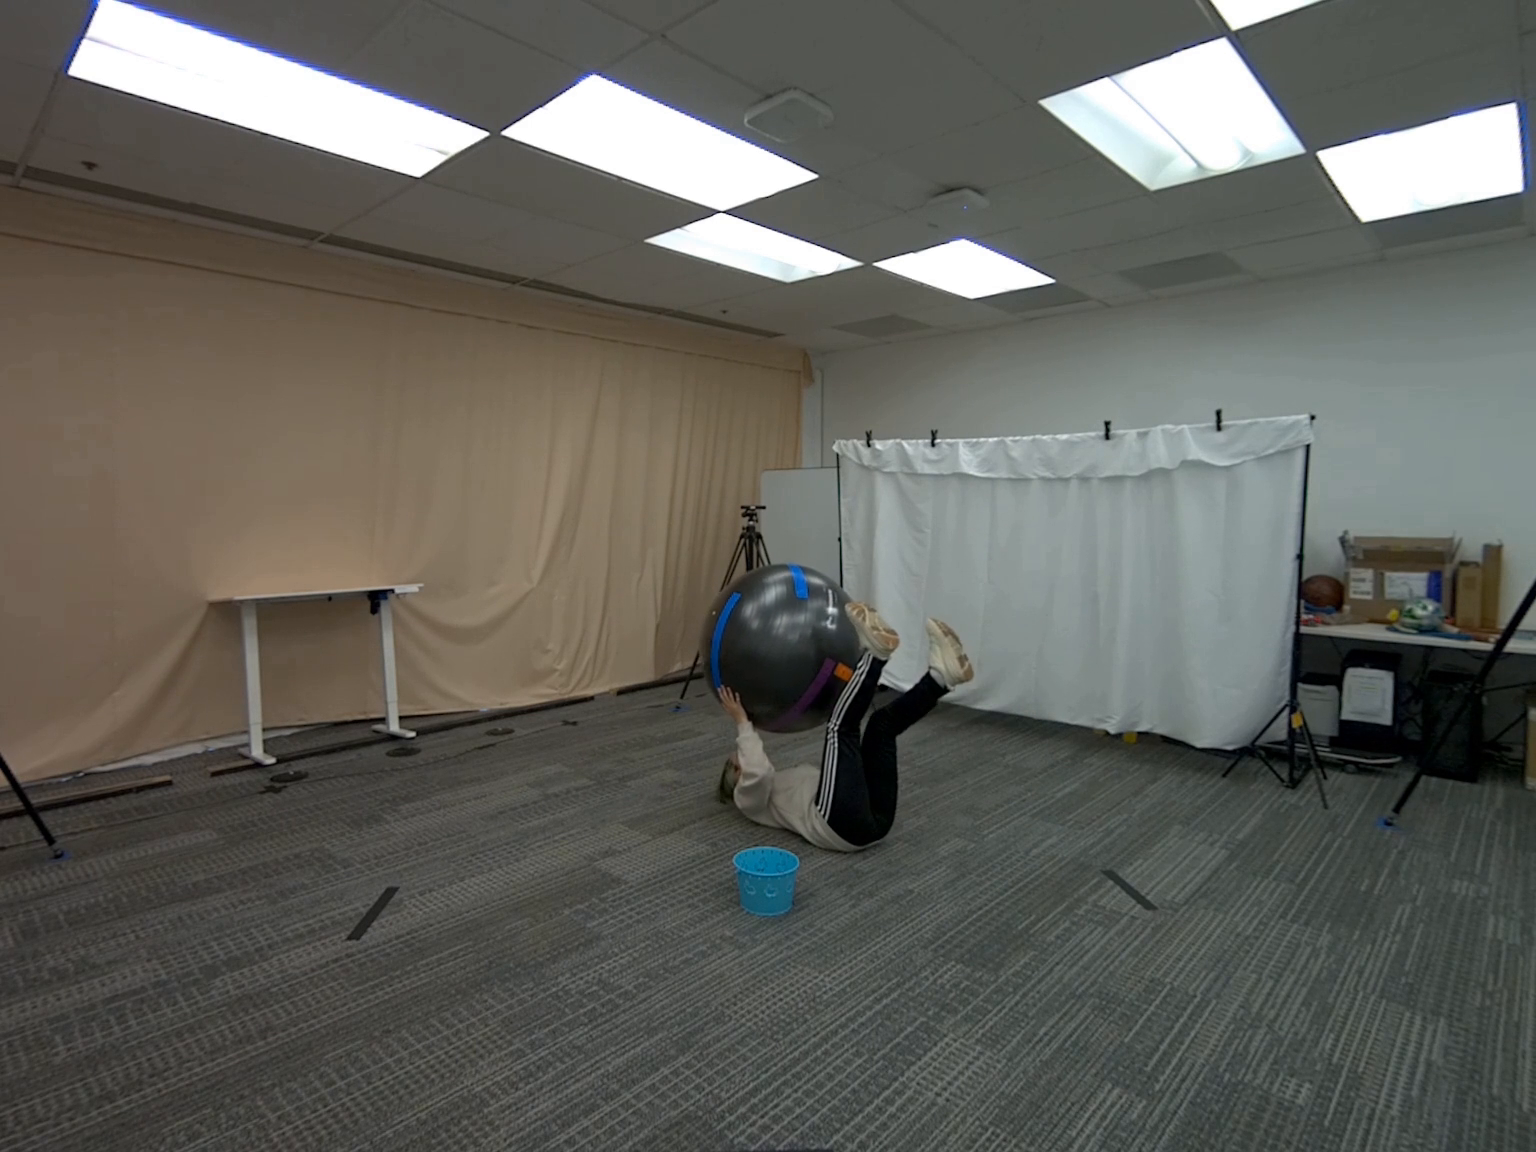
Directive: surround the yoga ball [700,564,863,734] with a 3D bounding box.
[{"bbox_3d":[0.065,0.329,3.802,0.757,0.756,0.760,0,4,-2],"label":"yoga ball"}]
